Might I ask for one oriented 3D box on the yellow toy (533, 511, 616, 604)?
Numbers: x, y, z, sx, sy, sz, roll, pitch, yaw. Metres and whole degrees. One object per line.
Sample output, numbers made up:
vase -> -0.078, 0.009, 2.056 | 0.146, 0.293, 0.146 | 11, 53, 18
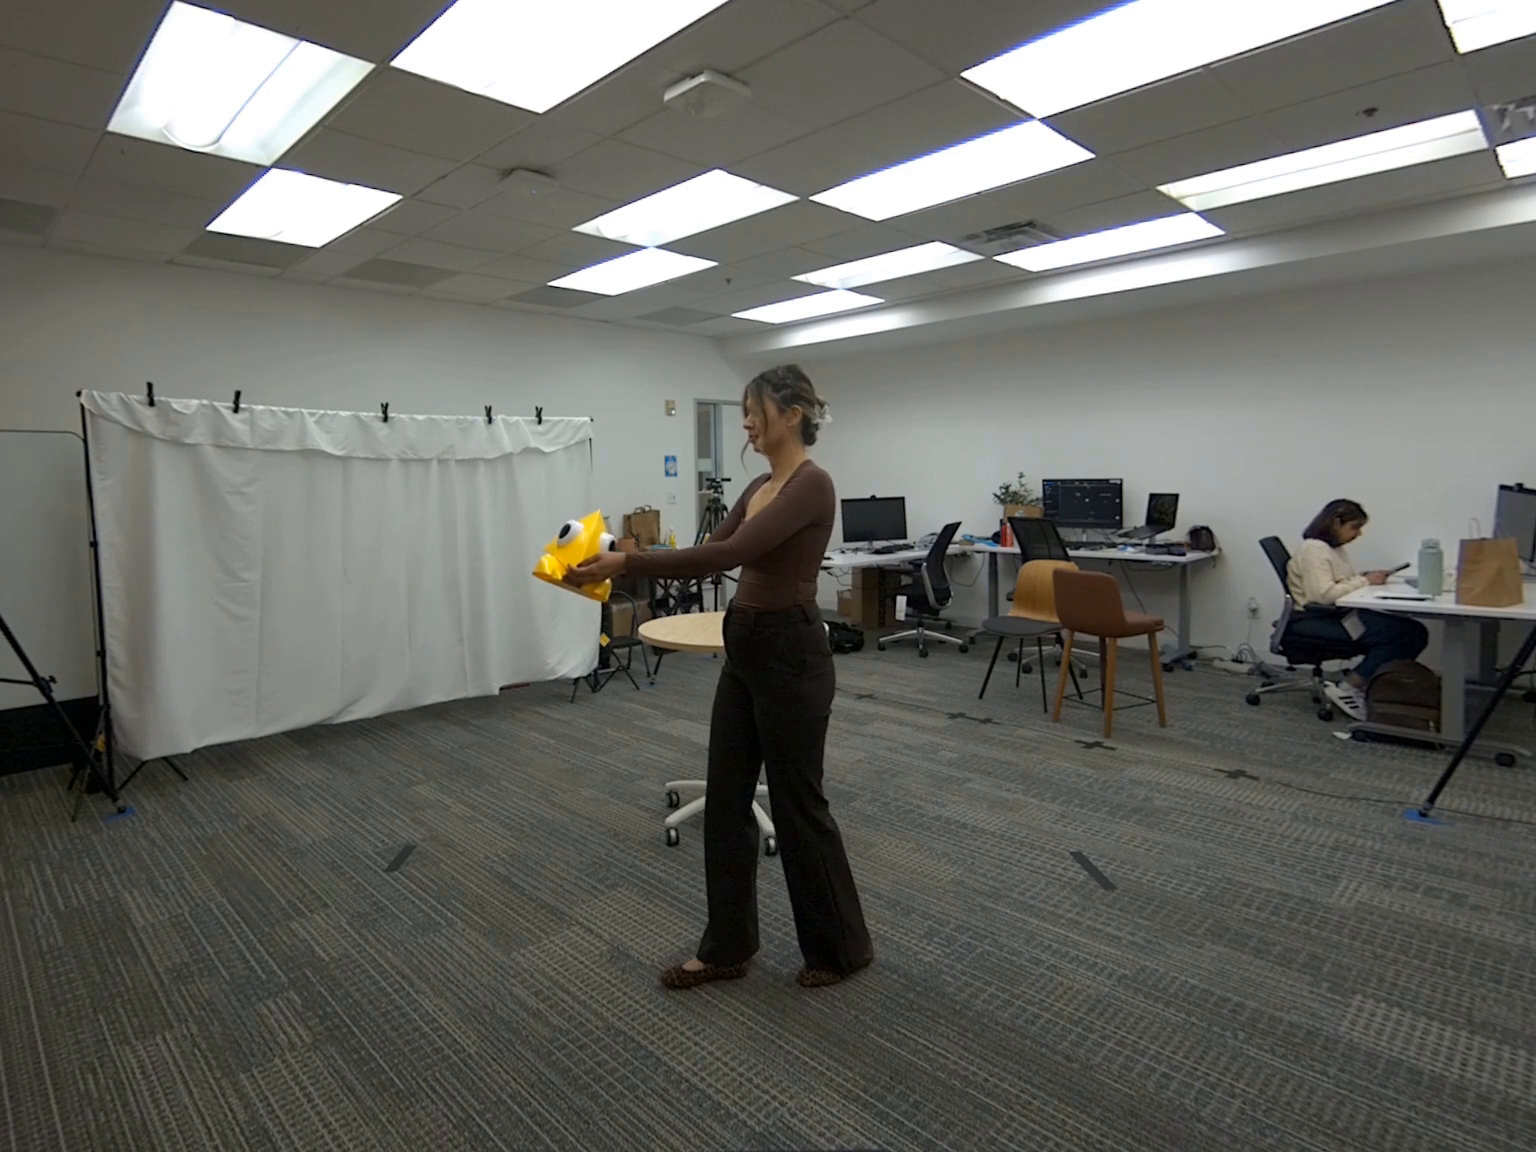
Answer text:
yellow toy -> -0.462, -0.080, 2.206 | 0.202, 0.232, 0.194 | 22, -15, -12
